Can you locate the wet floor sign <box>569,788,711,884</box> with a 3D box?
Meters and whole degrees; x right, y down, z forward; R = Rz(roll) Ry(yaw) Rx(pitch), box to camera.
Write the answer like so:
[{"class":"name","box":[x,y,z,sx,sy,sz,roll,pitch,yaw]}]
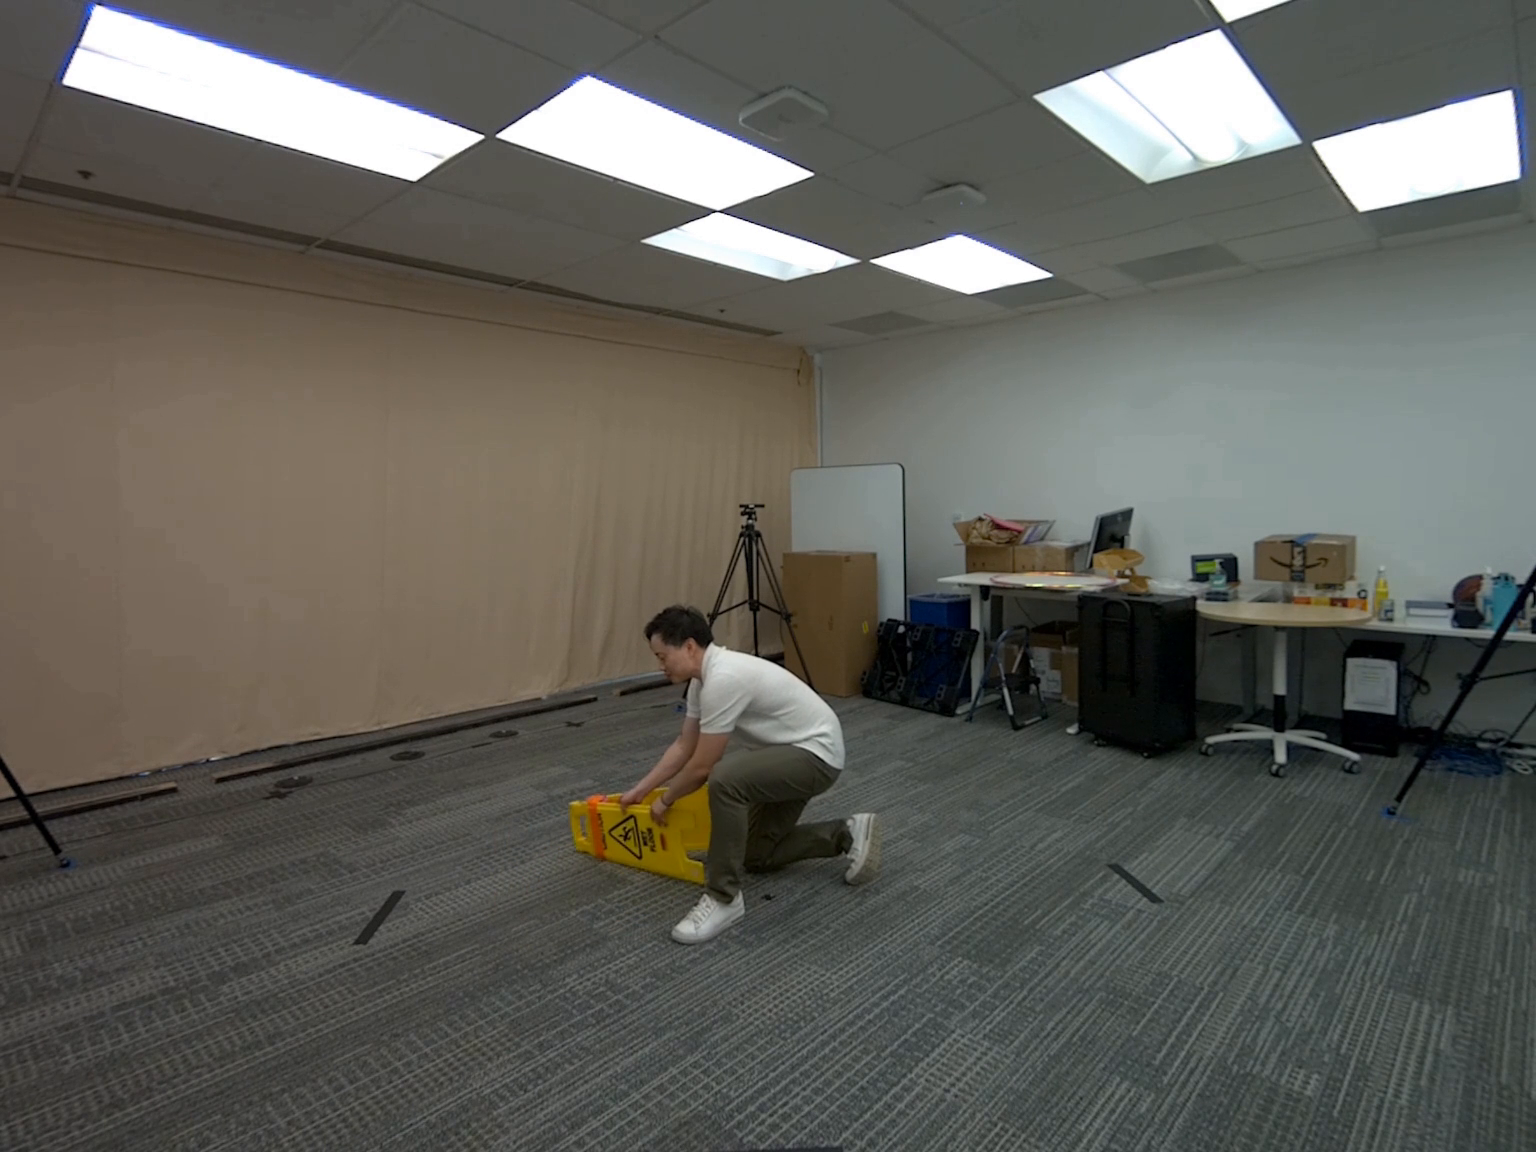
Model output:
[{"class":"wet floor sign","box":[-0.500,0.989,3.292,0.660,0.281,0.284,-6,4,23]}]
